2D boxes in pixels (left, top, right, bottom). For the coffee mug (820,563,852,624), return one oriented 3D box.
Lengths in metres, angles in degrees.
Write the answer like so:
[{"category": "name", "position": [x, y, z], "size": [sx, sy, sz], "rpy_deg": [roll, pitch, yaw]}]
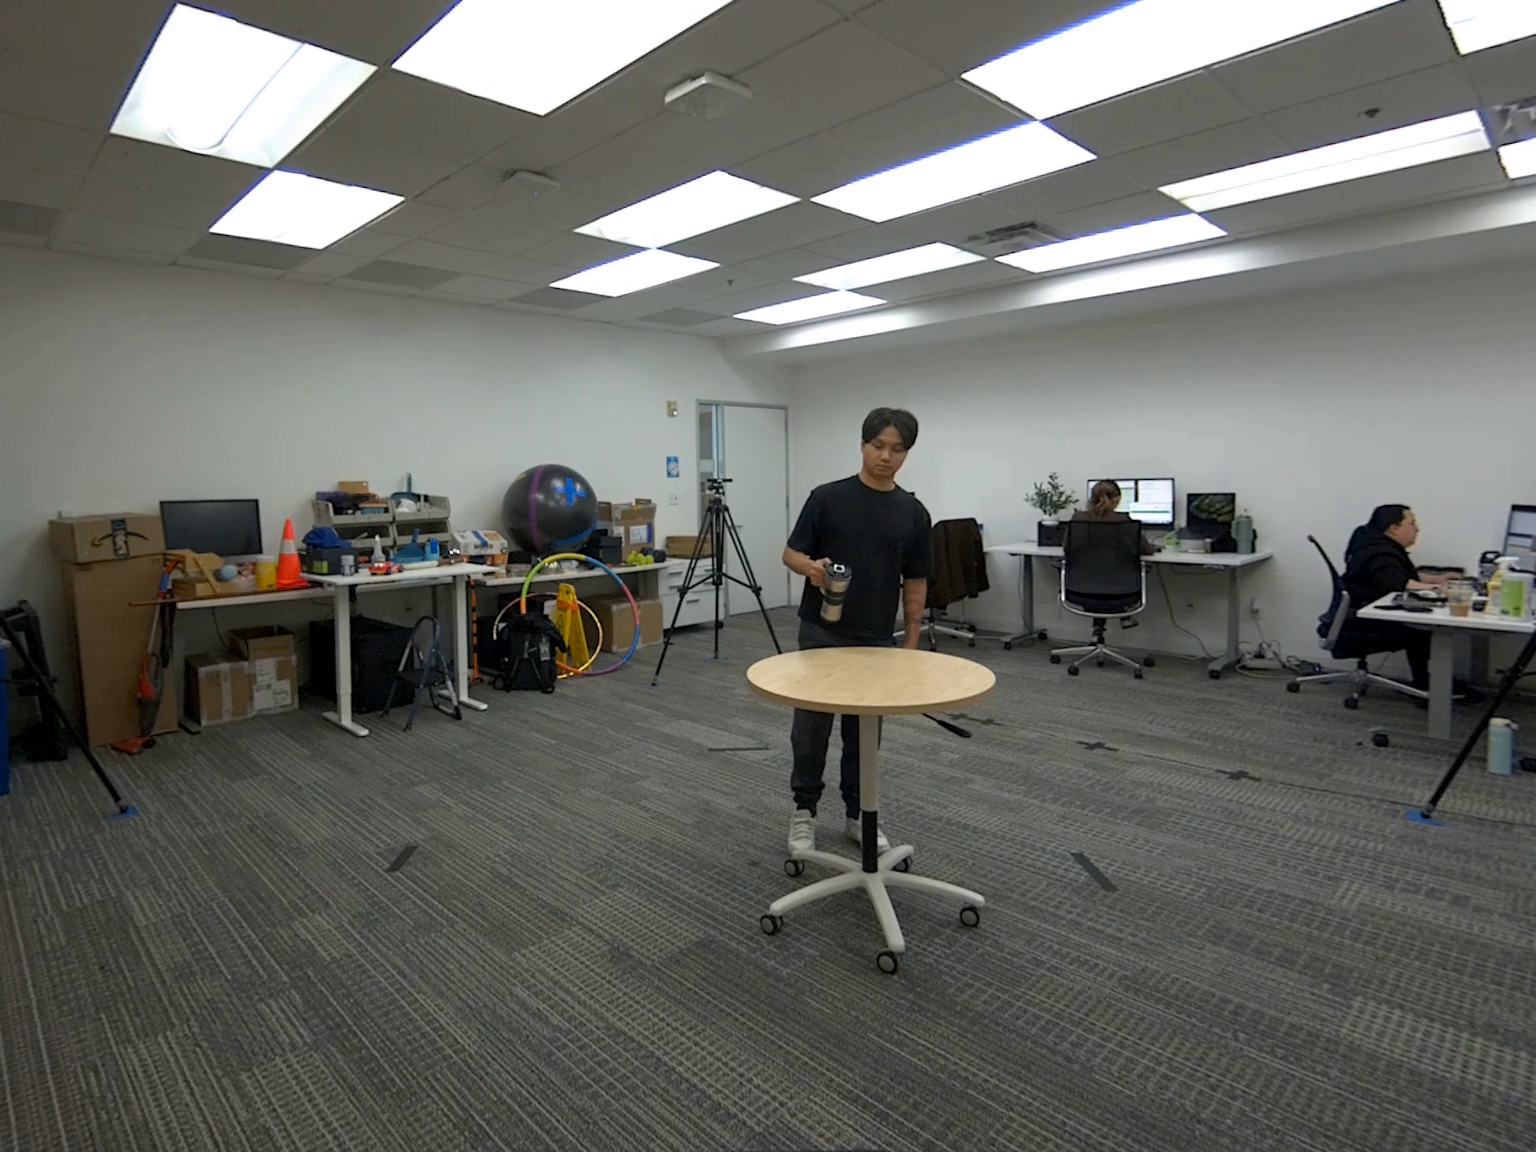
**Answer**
[{"category": "coffee mug", "position": [0.241, 0.063, 2.983], "size": [0.091, 0.198, 0.120], "rpy_deg": [24, 36, 33]}]
